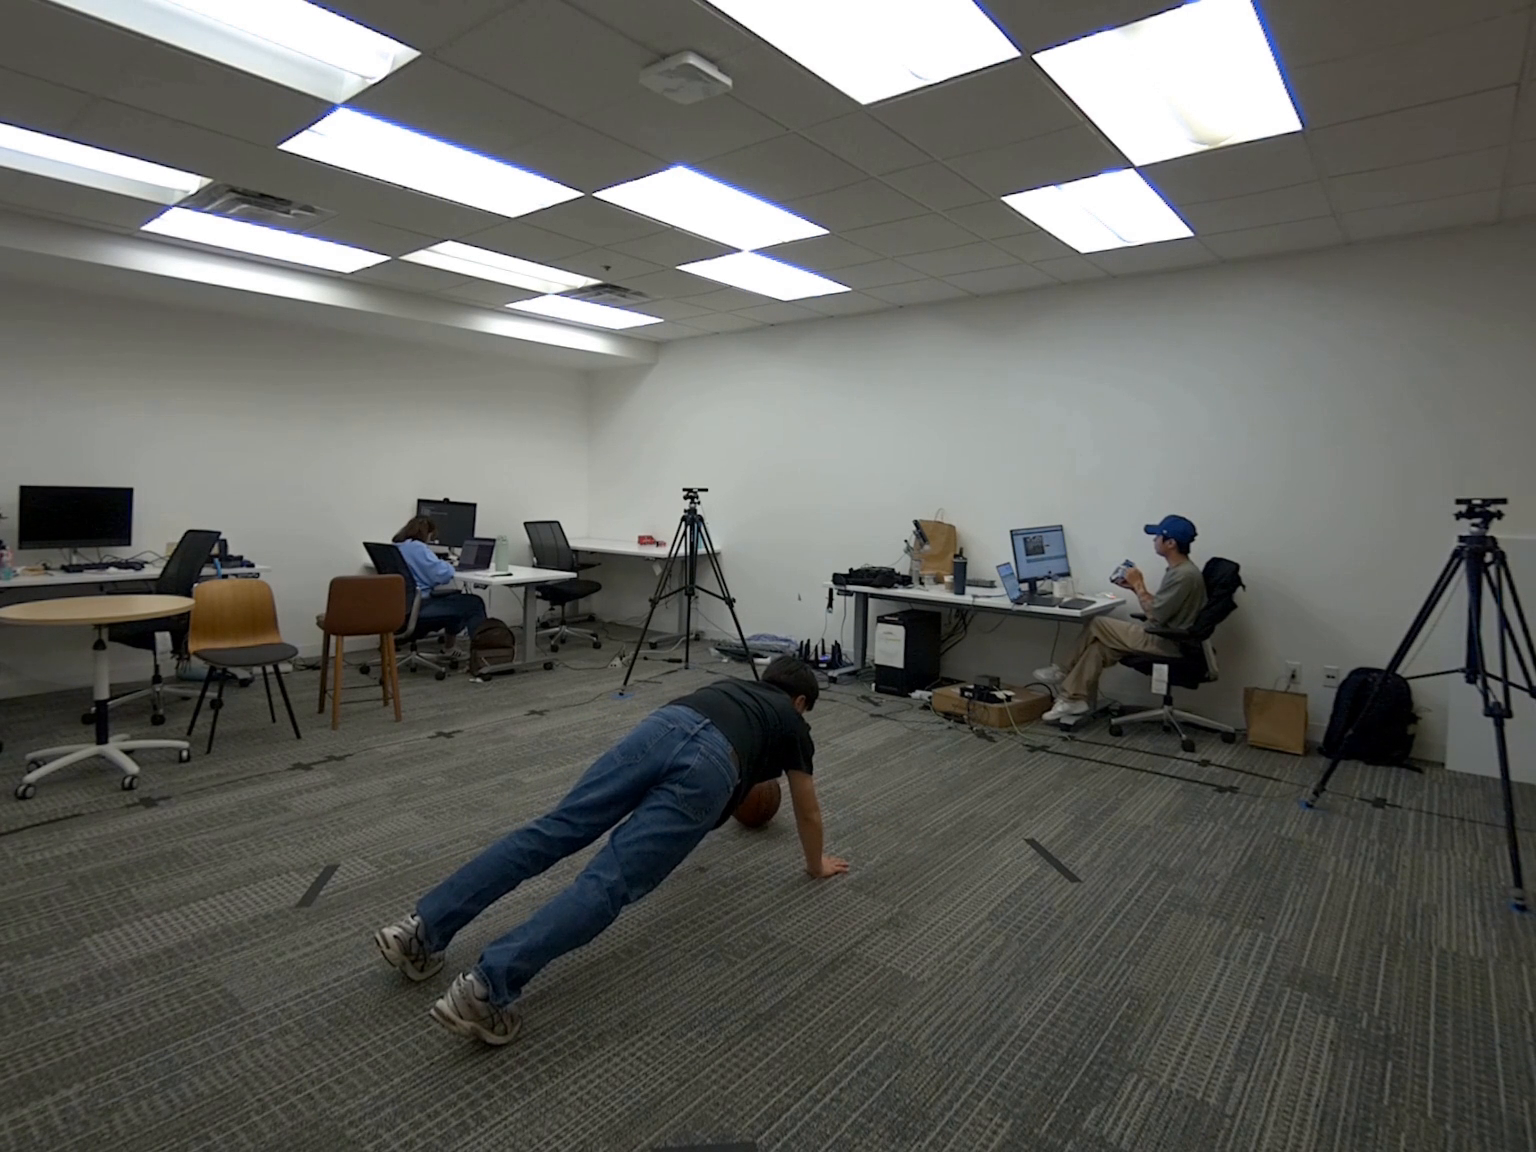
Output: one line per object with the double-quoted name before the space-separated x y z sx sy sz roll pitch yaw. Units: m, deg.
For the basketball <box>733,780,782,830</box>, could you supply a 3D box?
"basketball" -0.069 0.908 3.544 0.235 0.235 0.237 1 4 -2
